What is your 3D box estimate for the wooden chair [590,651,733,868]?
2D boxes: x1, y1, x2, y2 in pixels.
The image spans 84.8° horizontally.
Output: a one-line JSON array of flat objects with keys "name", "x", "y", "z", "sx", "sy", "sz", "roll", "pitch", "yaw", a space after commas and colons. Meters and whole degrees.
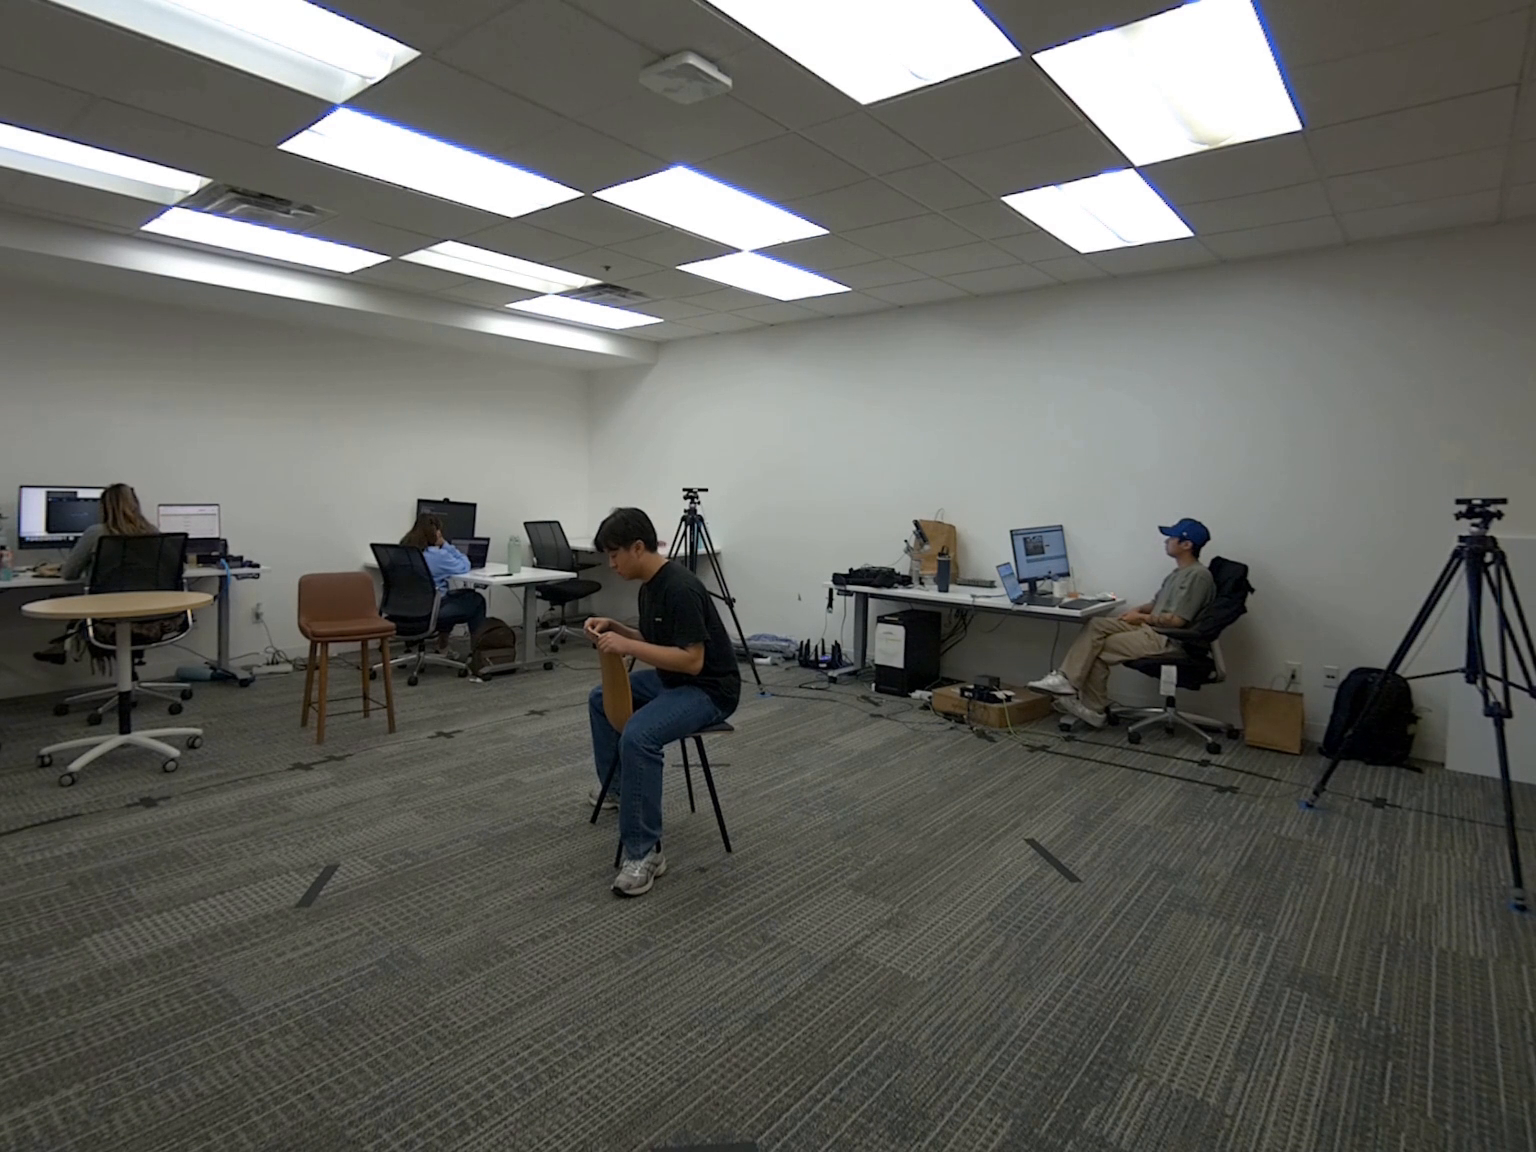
[{"name": "wooden chair", "x": -0.432, "y": 0.614, "z": 3.367, "sx": 0.513, "sy": 0.874, "sz": 0.489, "roll": -4, "pitch": 4, "yaw": -21}]
